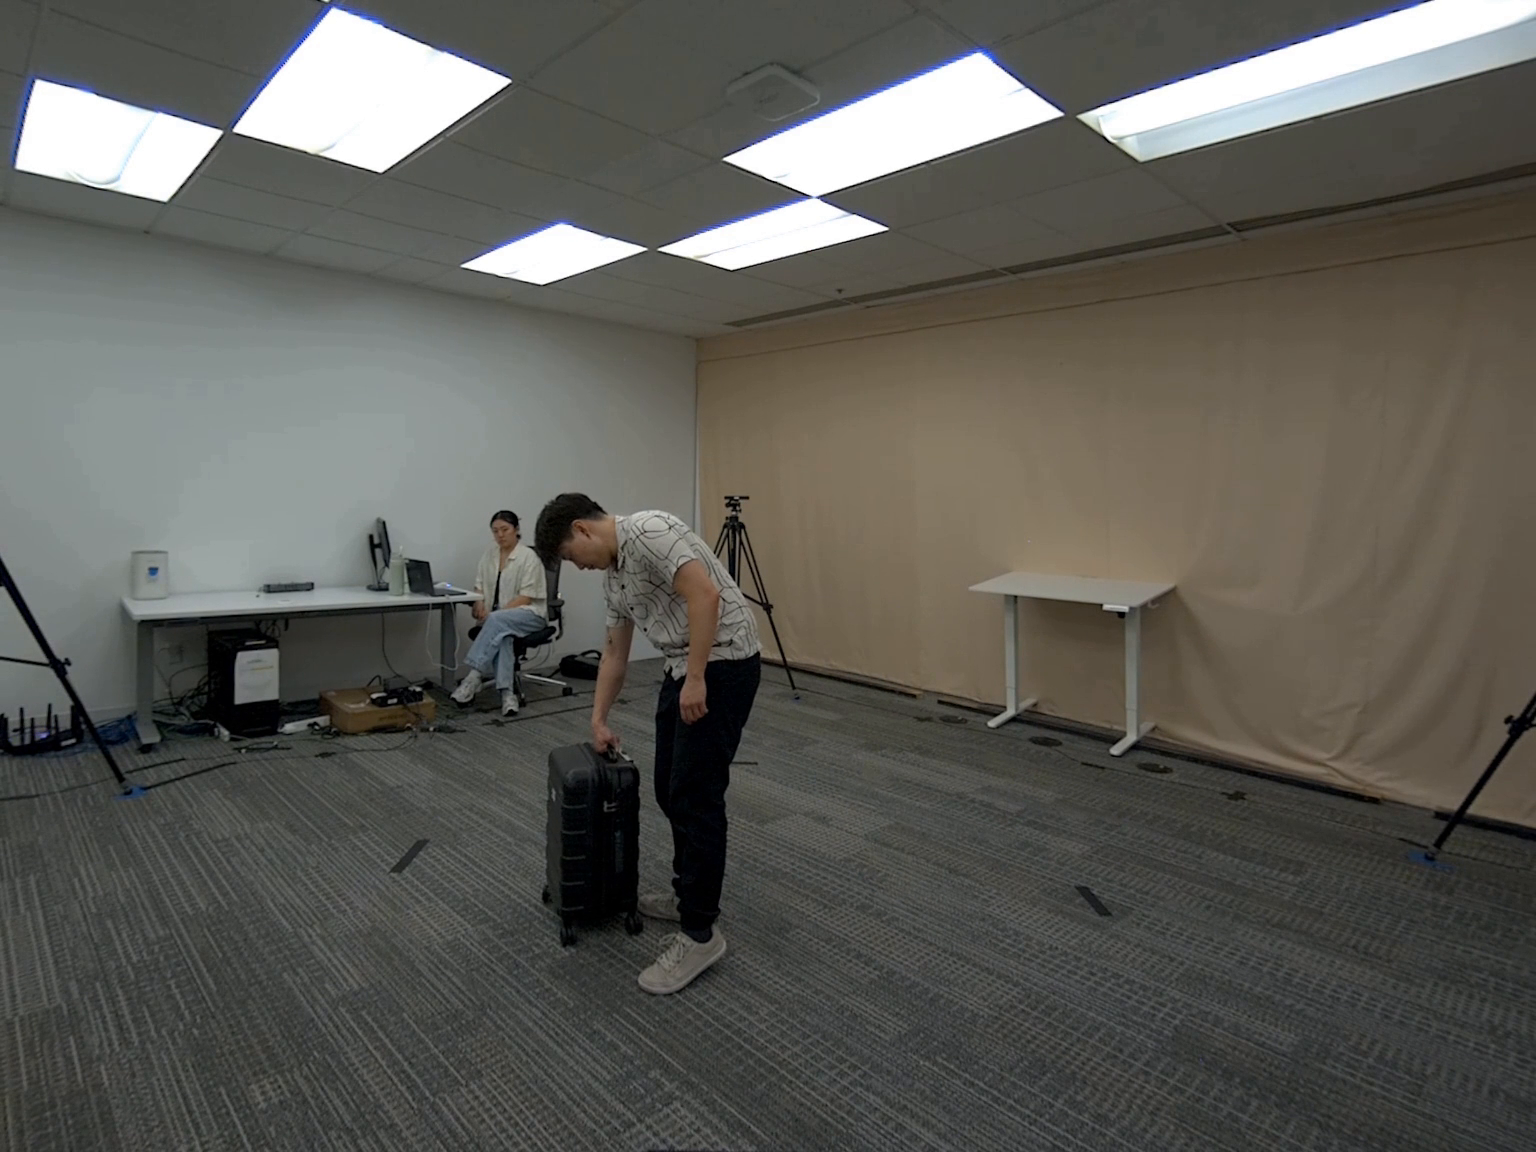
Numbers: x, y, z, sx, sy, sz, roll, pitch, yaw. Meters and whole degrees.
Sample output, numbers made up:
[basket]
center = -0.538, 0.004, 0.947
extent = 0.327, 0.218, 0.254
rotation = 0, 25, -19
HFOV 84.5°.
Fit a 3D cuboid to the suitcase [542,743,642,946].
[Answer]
[suitcase]
center = -0.590, 0.846, 2.781
extent = 0.244, 0.548, 0.383
rotation = 1, 4, -24
